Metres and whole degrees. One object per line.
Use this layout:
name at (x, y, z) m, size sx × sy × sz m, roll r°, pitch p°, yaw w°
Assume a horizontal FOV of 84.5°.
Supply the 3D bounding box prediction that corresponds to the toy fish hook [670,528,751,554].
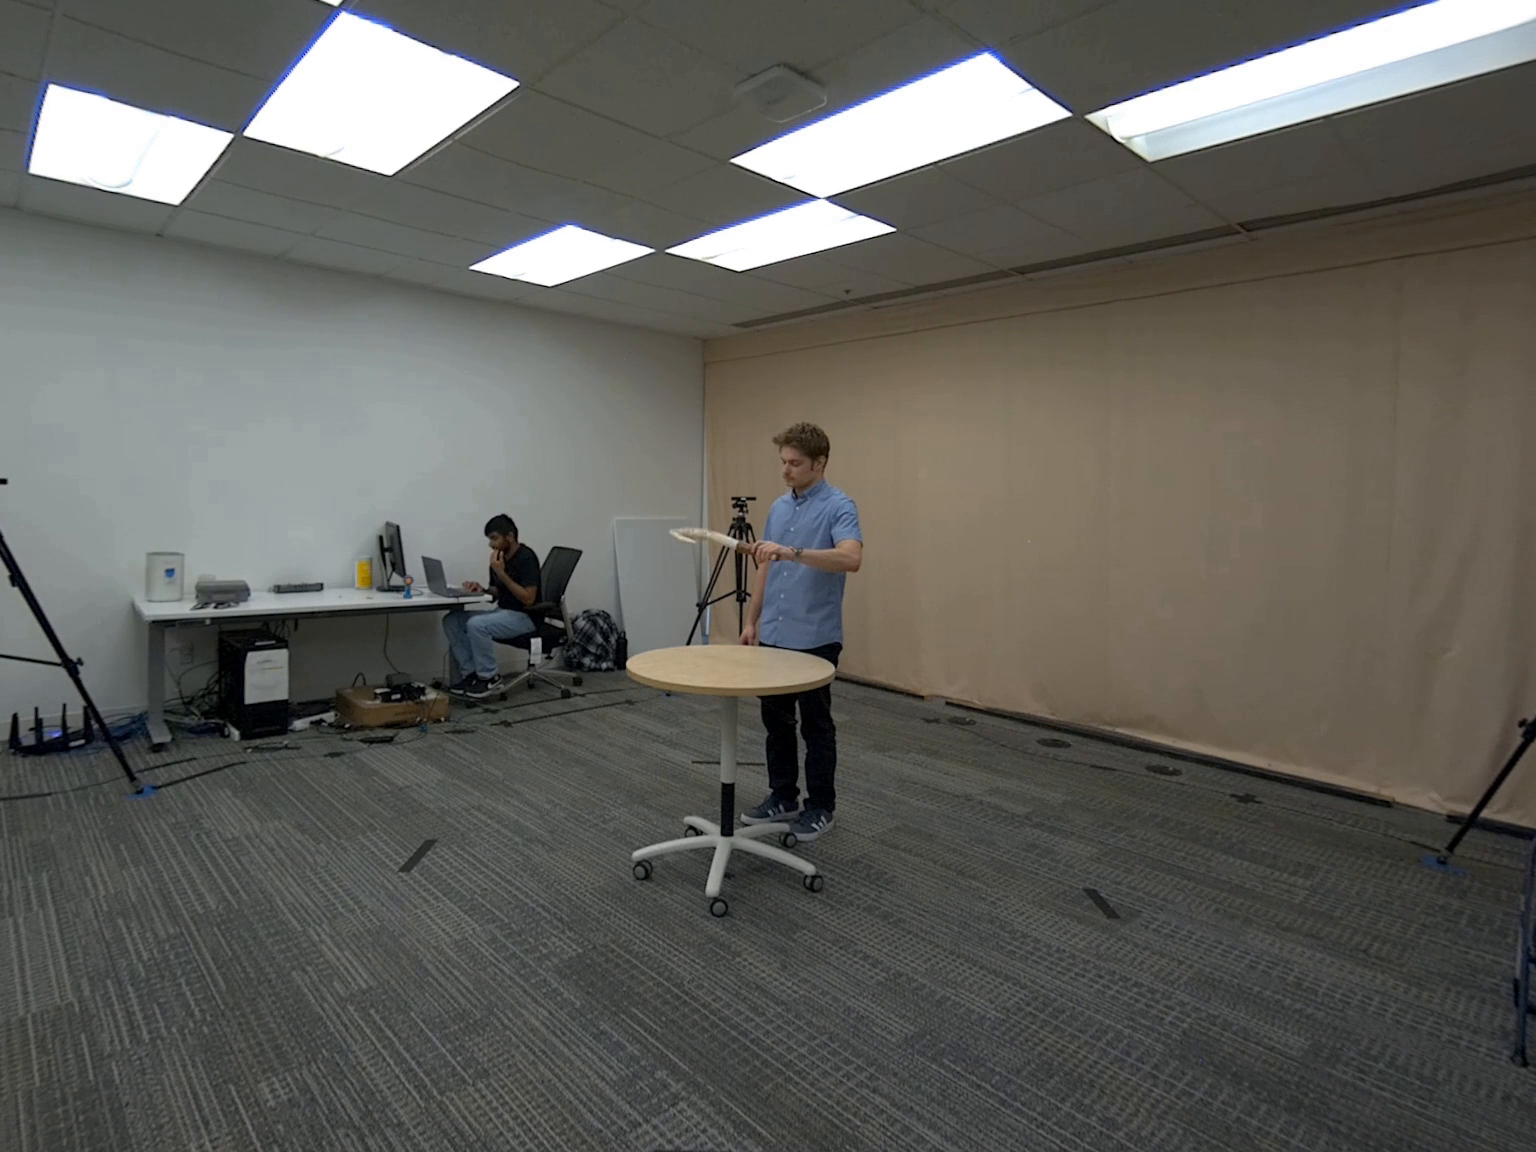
toy fish hook at (-0.169, -0.117, 3.214) m, size 0.521 × 0.048 × 0.220 m, roll 17°, pitch 19°, yaw 35°
